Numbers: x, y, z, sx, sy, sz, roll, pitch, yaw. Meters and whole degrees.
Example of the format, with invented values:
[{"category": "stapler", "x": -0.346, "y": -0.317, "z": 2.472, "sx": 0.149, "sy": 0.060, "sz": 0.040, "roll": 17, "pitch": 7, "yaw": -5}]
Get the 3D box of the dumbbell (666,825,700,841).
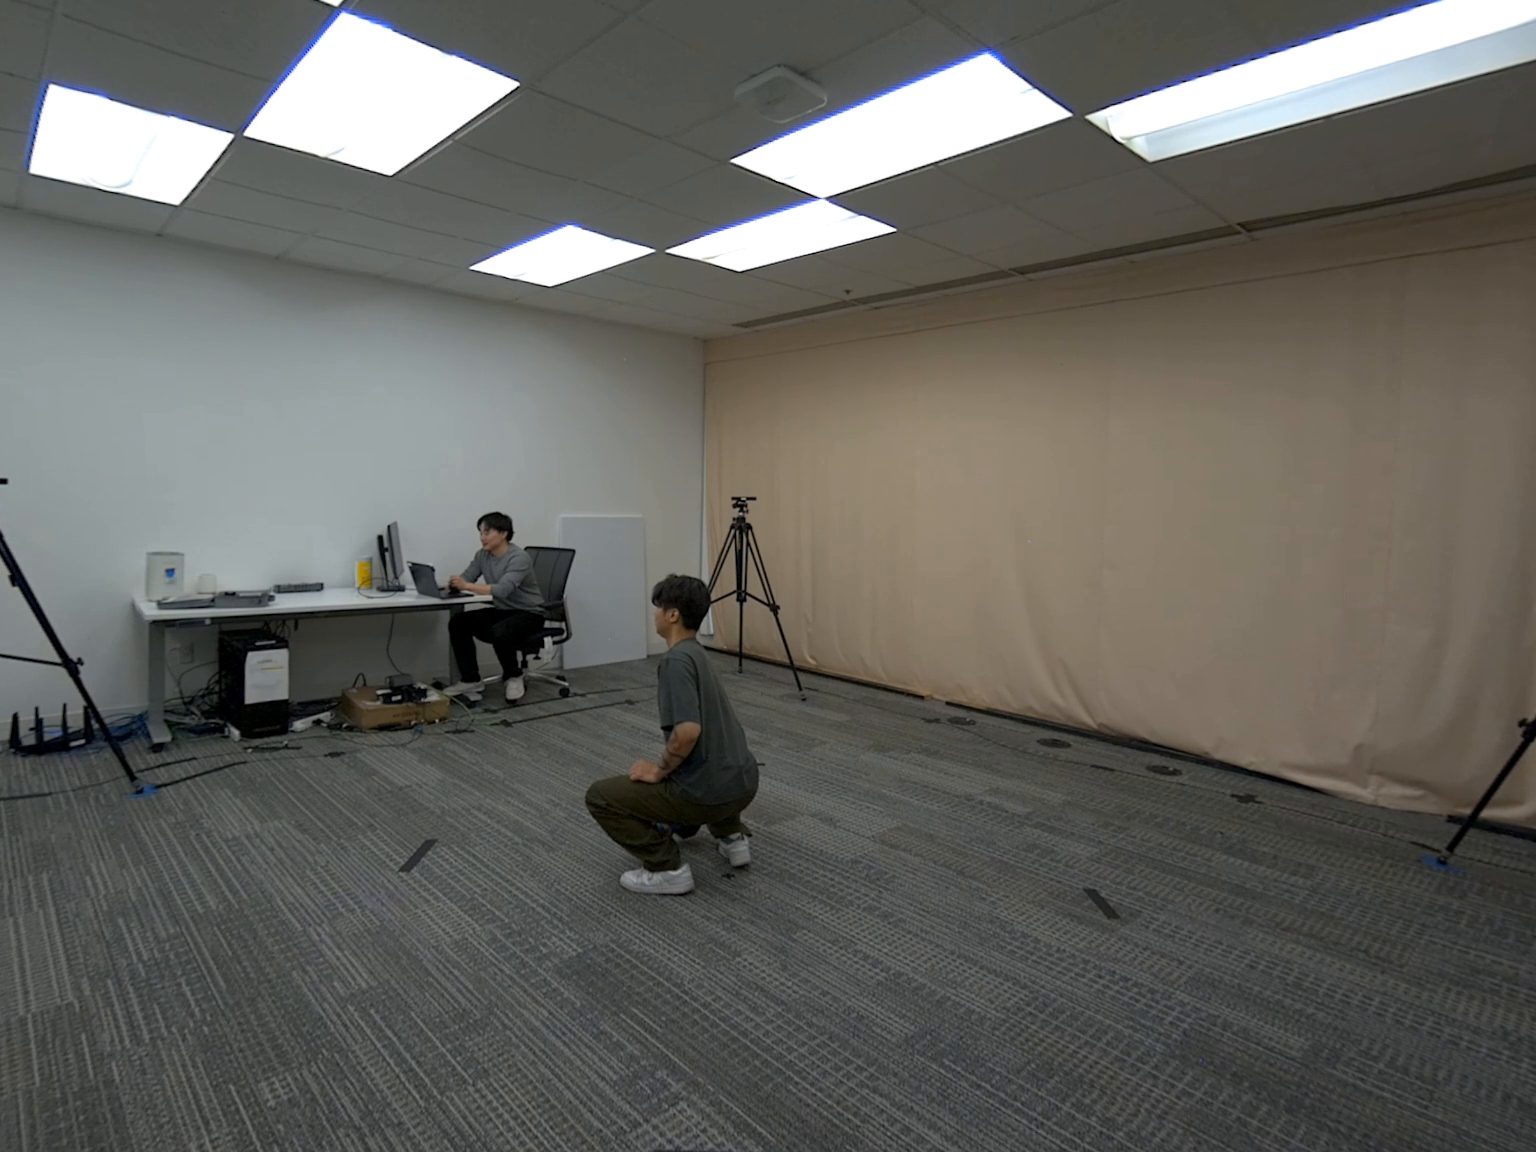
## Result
[{"category": "dumbbell", "x": -0.403, "y": 0.999, "z": 3.326, "sx": 0.287, "sy": 0.124, "sz": 0.110, "roll": -2, "pitch": -18, "yaw": -44}]
